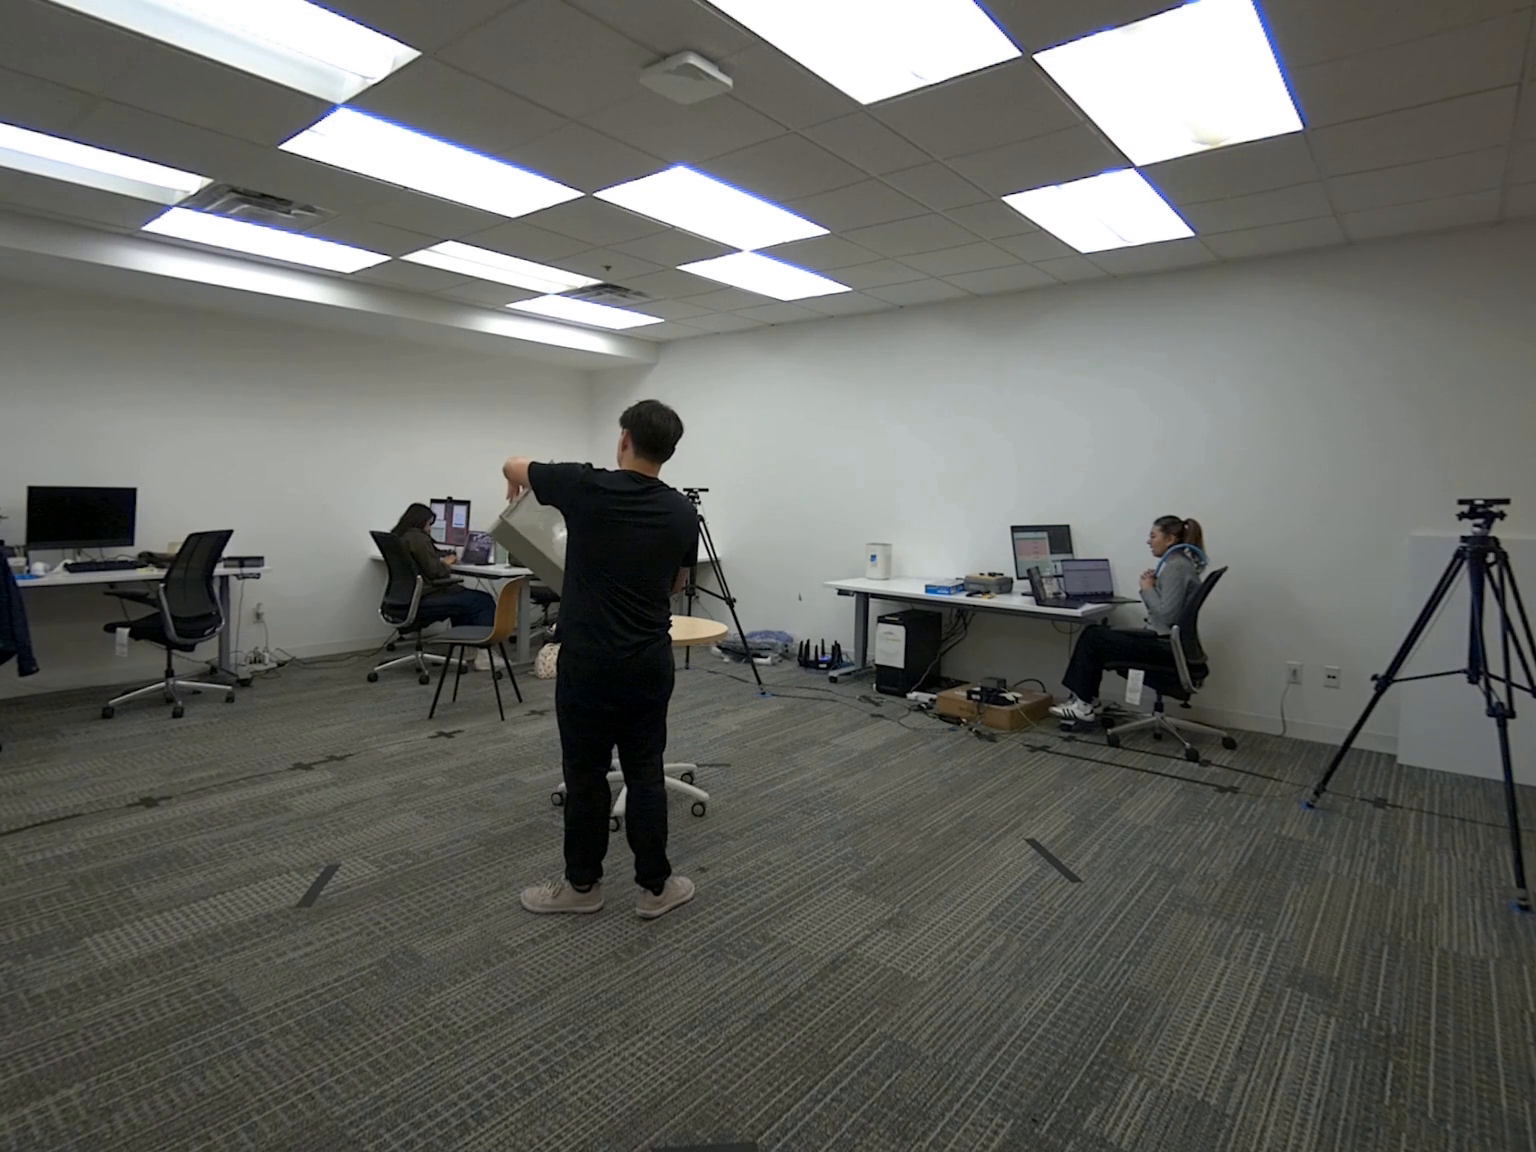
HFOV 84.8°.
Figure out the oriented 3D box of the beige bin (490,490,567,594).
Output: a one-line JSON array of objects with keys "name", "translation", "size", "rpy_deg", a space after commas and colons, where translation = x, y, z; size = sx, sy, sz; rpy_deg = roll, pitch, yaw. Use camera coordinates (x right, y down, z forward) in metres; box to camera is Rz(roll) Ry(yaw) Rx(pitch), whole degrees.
[{"name": "beige bin", "translation": [-0.764, -0.168, 3.154], "size": [0.191, 0.415, 0.380], "rpy_deg": [-34, 18, 48]}]
